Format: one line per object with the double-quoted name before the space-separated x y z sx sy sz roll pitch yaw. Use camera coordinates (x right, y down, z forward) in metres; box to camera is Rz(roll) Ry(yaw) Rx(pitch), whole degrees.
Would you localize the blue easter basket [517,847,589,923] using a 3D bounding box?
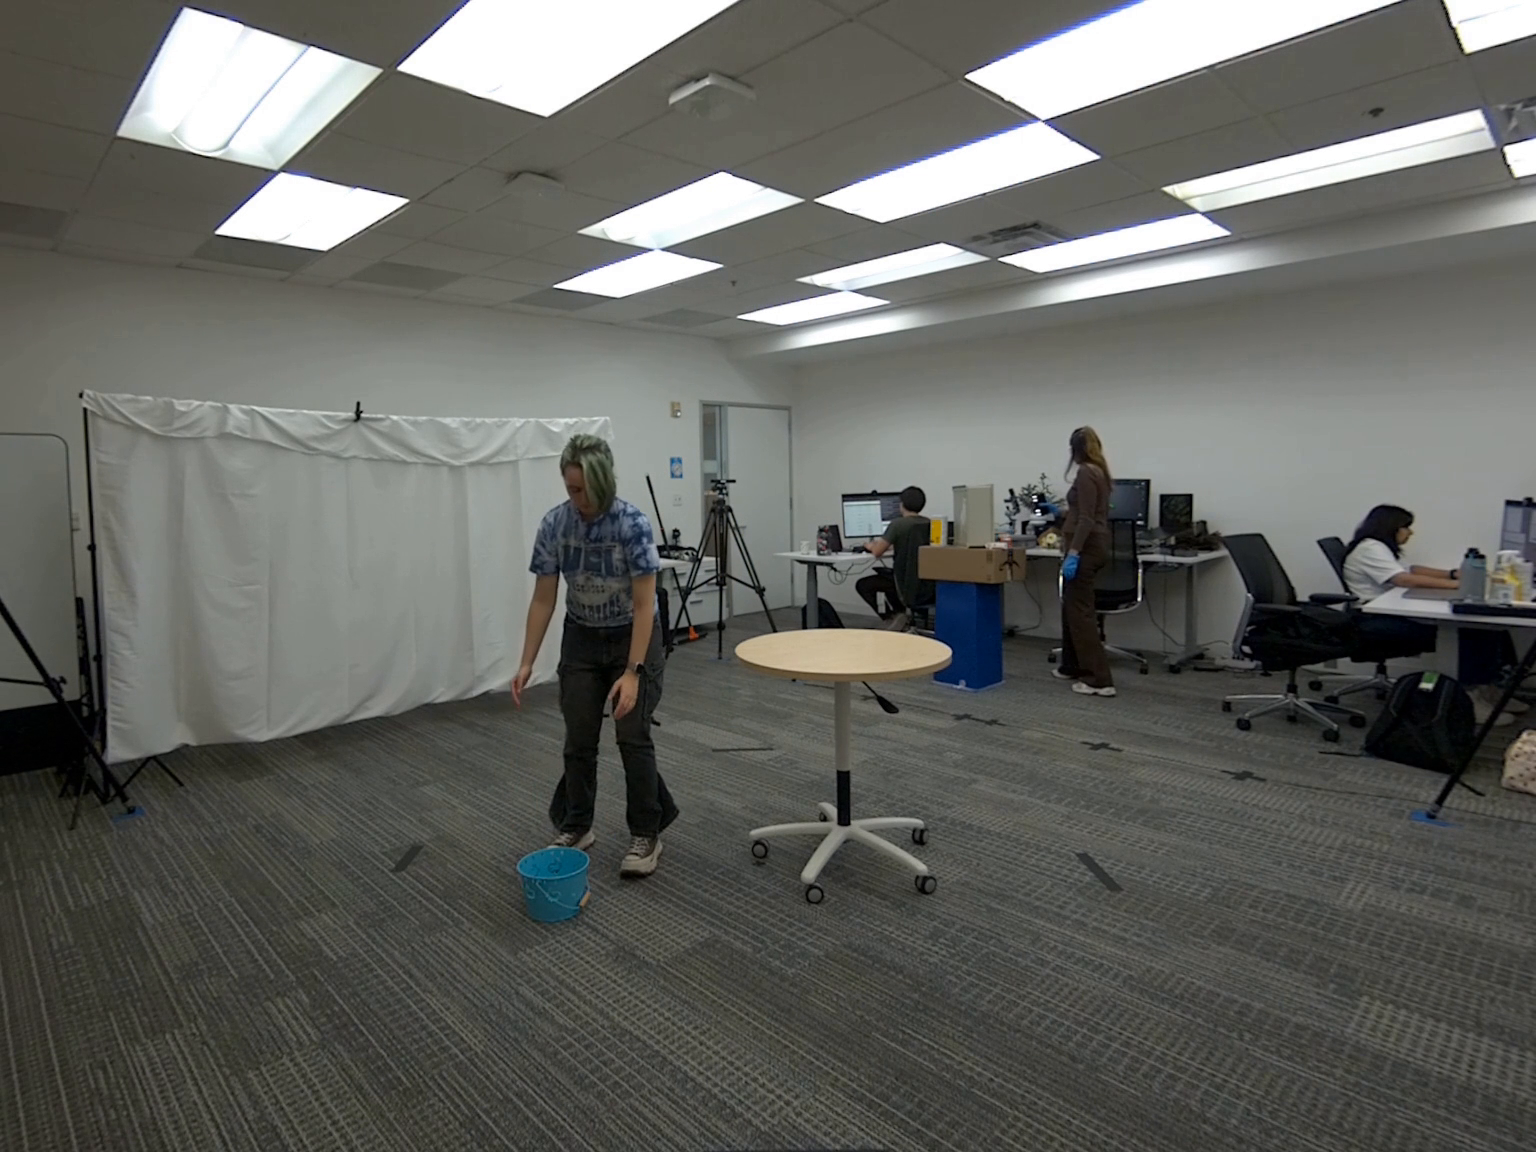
"blue easter basket" -0.697 1.017 2.804 0.243 0.155 0.245 -1 5 -2
